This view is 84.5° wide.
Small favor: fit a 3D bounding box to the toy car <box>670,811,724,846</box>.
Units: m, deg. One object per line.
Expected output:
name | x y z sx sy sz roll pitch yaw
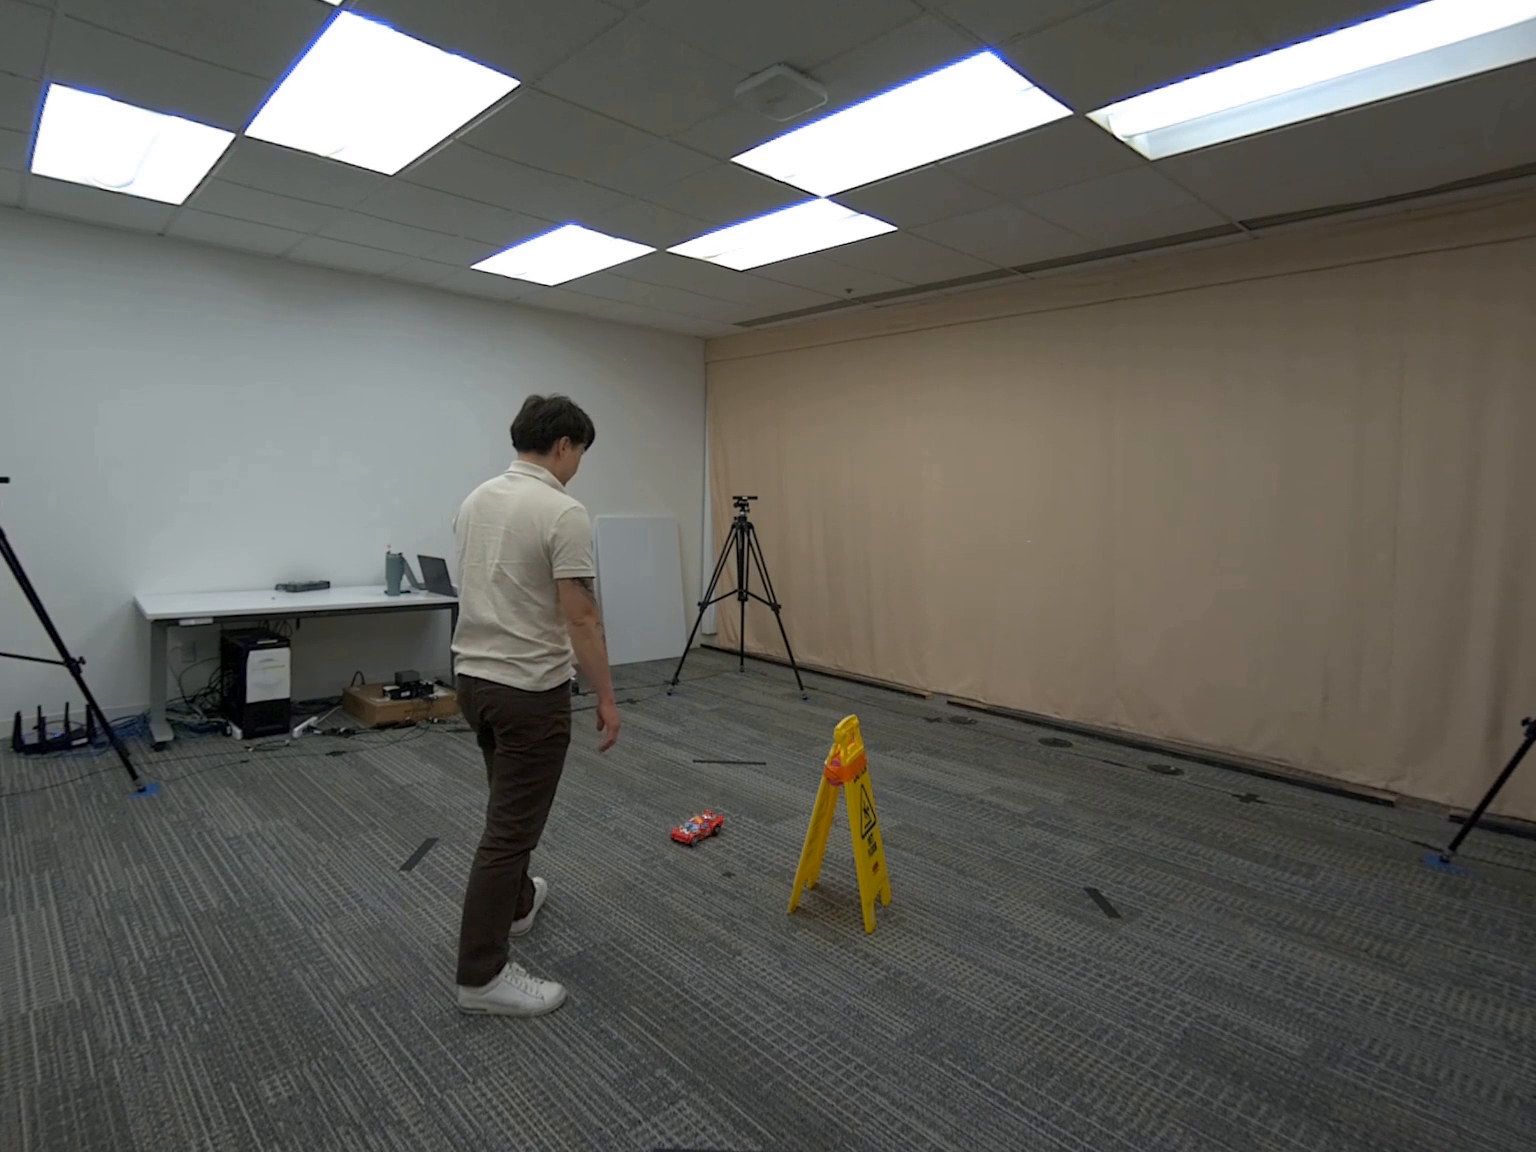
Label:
toy car | -0.292 1.037 3.454 0.133 0.082 0.251 3 16 36
